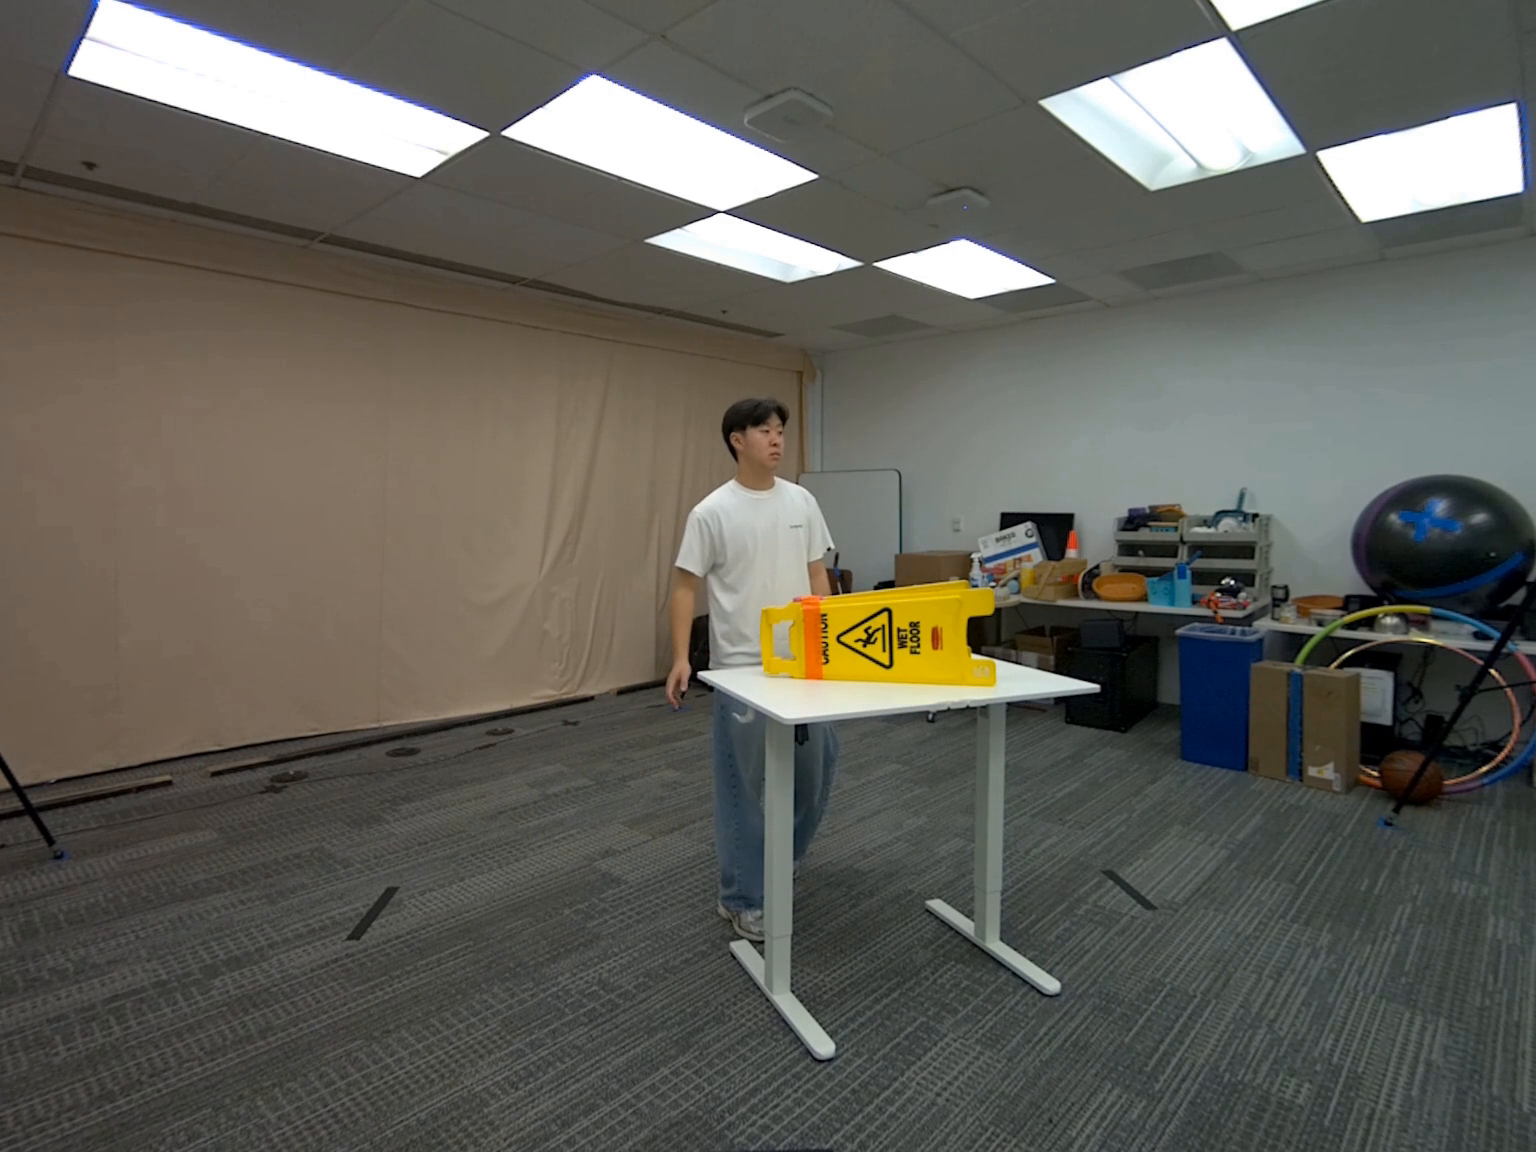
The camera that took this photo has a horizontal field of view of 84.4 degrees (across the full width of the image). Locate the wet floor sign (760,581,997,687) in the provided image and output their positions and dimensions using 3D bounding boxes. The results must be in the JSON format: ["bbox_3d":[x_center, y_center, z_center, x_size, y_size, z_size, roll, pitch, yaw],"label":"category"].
[{"bbox_3d":[0.312,0.178,2.475,0.646,0.281,0.290,-3,4,0],"label":"wet floor sign"}]
